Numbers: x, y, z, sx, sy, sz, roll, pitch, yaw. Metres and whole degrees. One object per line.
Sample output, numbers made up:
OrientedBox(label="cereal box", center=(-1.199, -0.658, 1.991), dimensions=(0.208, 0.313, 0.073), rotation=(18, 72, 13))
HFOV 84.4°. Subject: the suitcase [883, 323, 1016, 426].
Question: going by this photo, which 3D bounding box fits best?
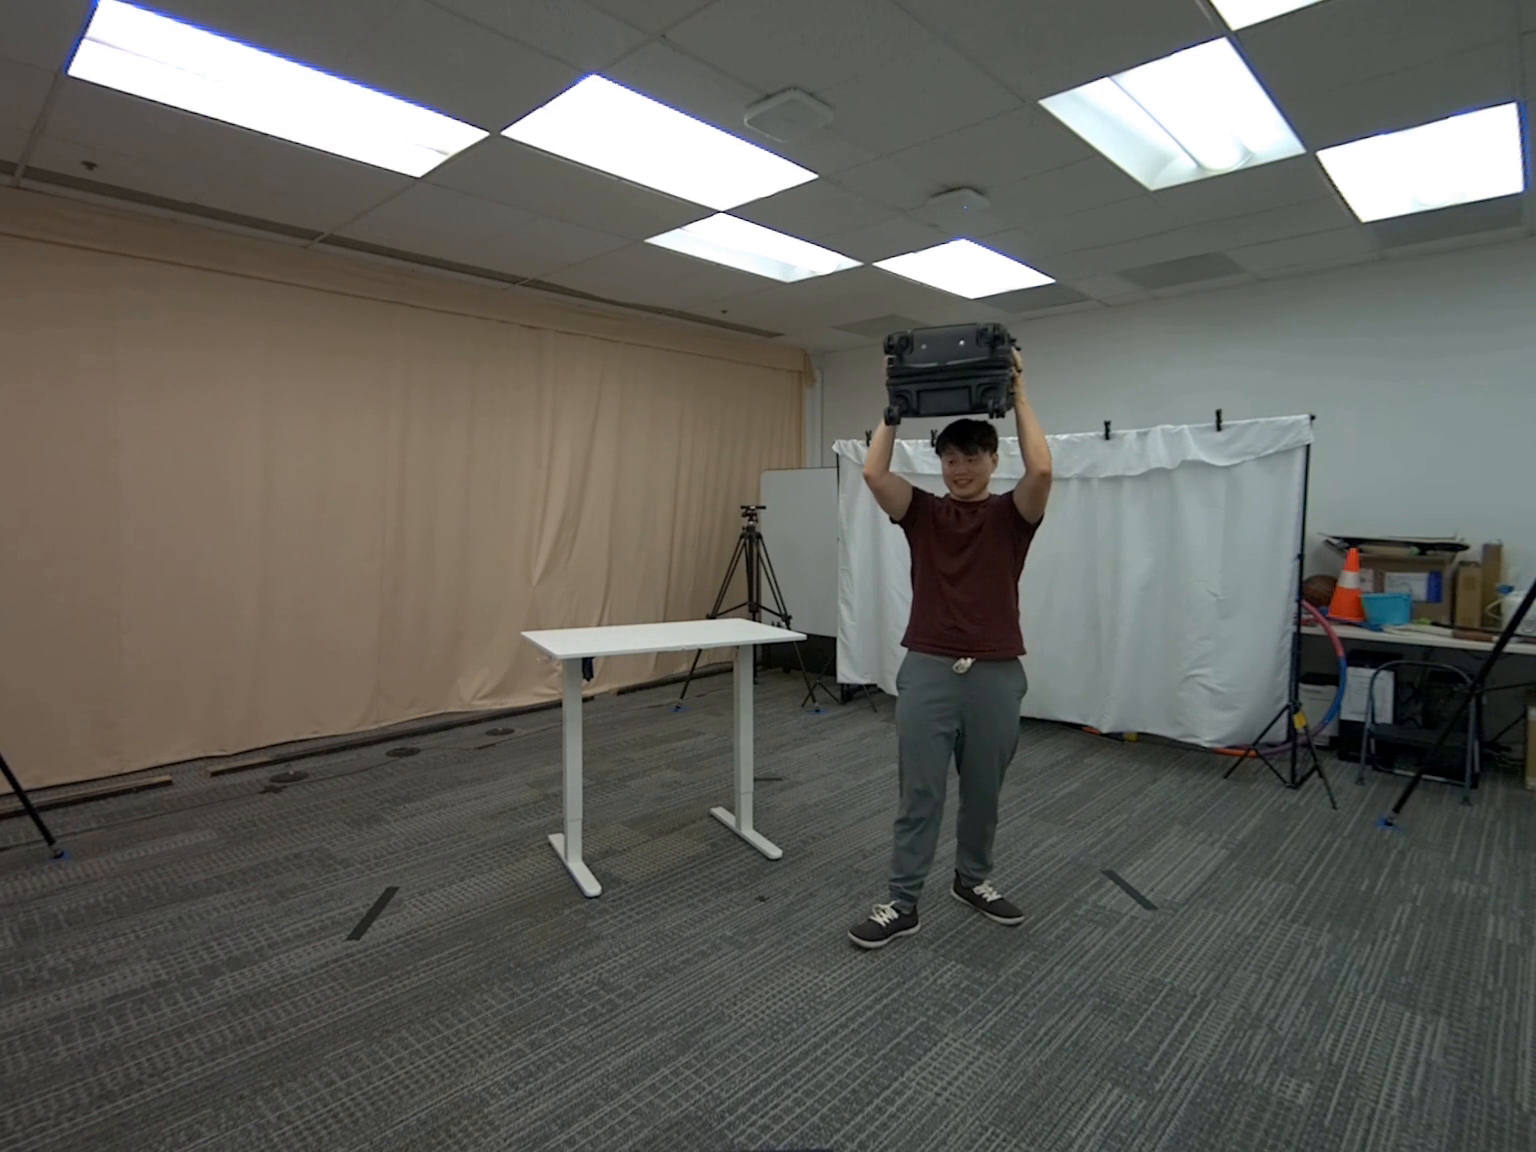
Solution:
OrientedBox(label="suitcase", center=(0.654, -0.651, 2.808), dimensions=(0.393, 0.256, 0.961), rotation=(1, 8, 21))
